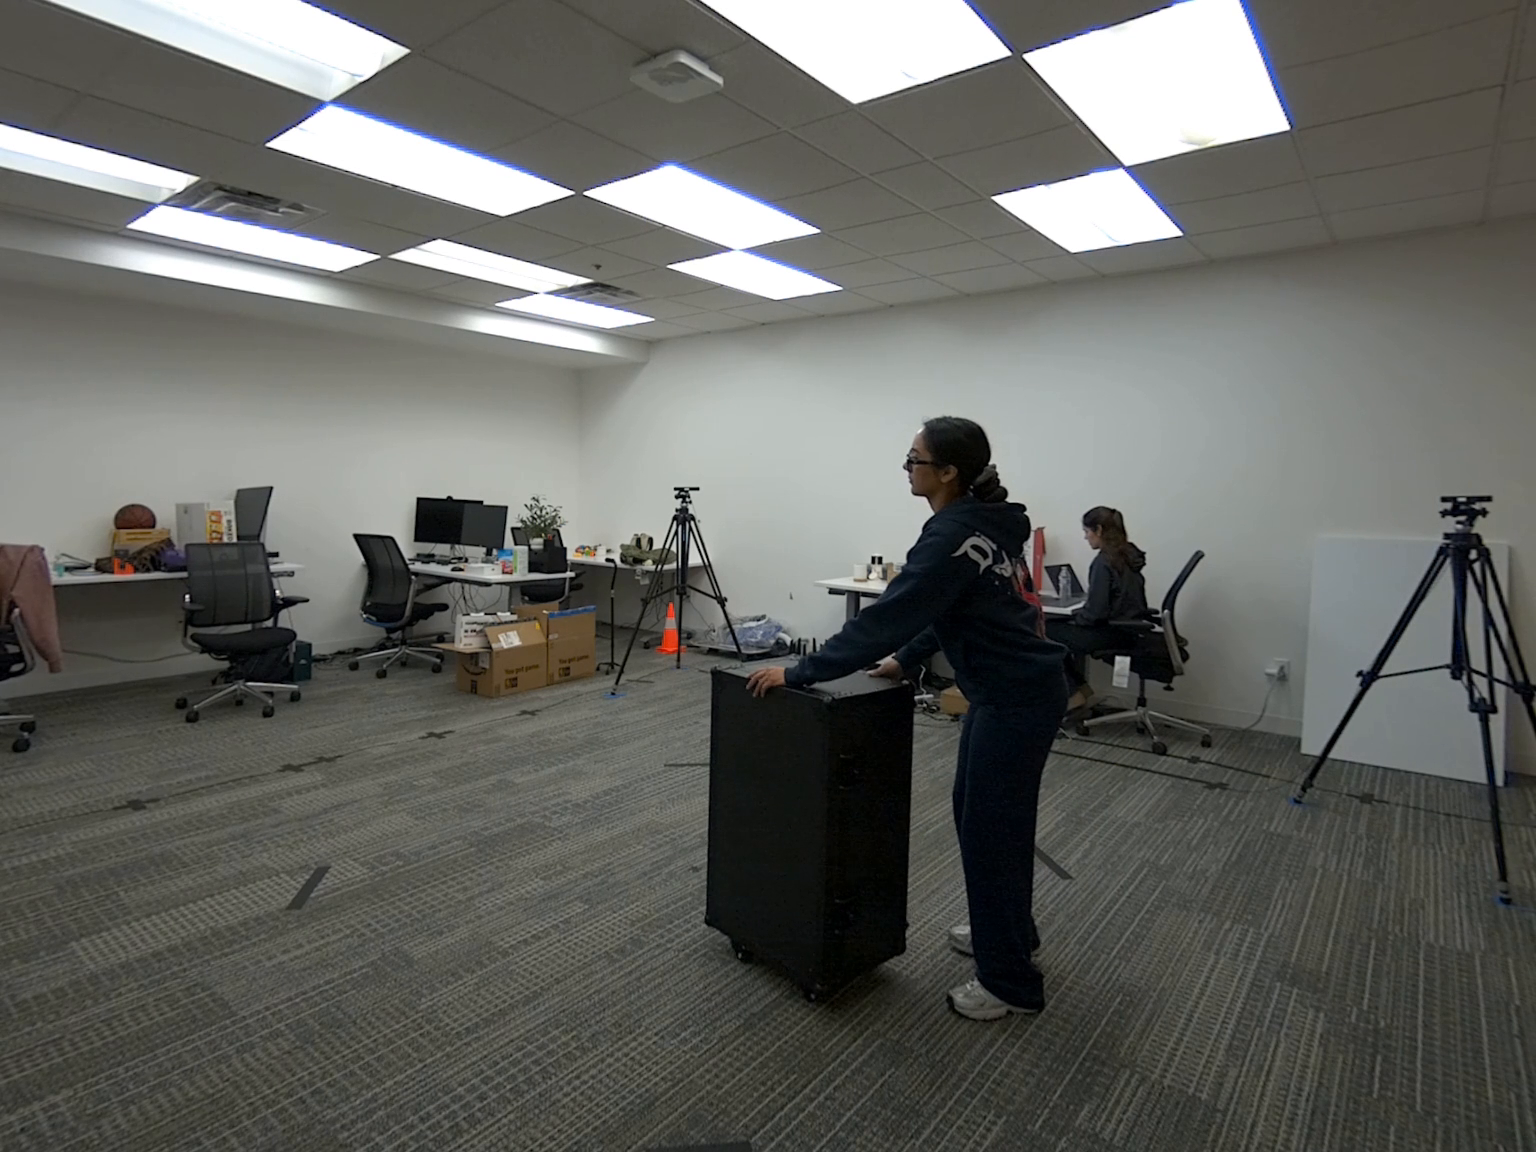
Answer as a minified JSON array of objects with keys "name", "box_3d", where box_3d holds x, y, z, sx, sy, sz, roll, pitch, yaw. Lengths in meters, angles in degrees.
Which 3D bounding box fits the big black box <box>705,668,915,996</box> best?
[{"name":"big black box","box_3d":[0.107,0.708,2.502,0.384,0.859,0.539,-1,4,-43]}]
